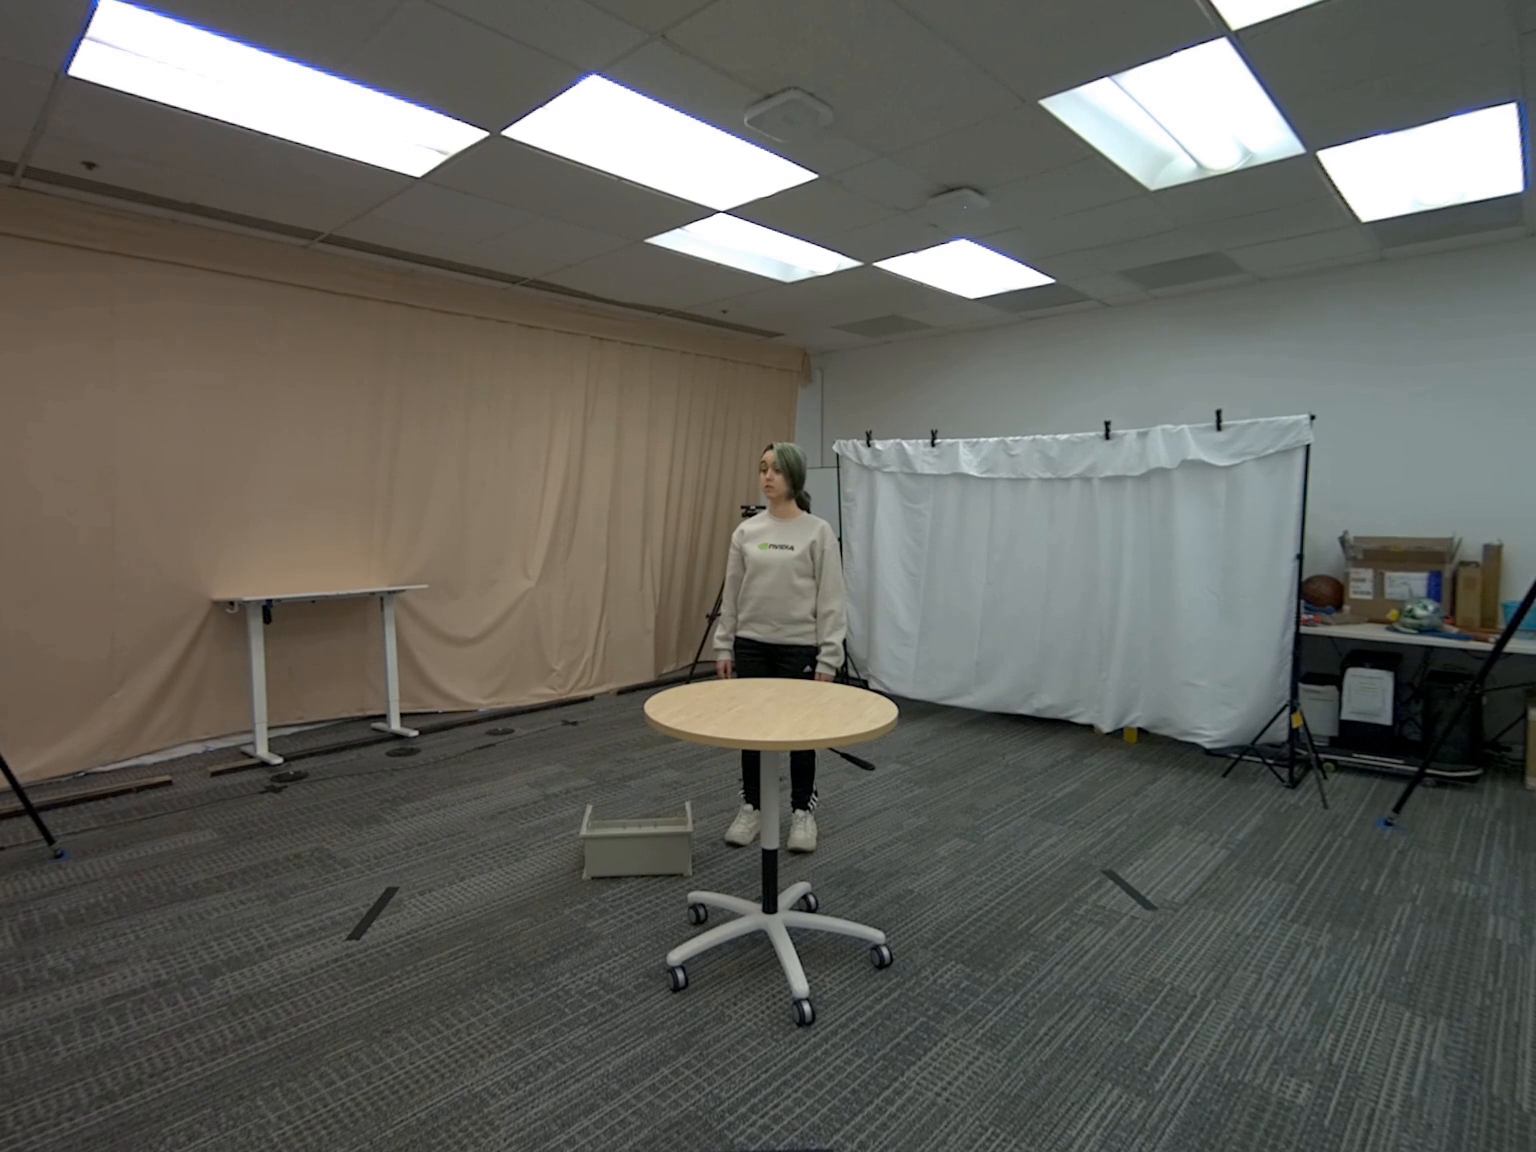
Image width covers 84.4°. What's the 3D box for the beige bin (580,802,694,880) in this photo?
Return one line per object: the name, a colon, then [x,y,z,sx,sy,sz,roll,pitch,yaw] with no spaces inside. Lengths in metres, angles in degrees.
beige bin: [-0.517,1.033,3.328,0.420,0.188,0.380,0,5,-6]
